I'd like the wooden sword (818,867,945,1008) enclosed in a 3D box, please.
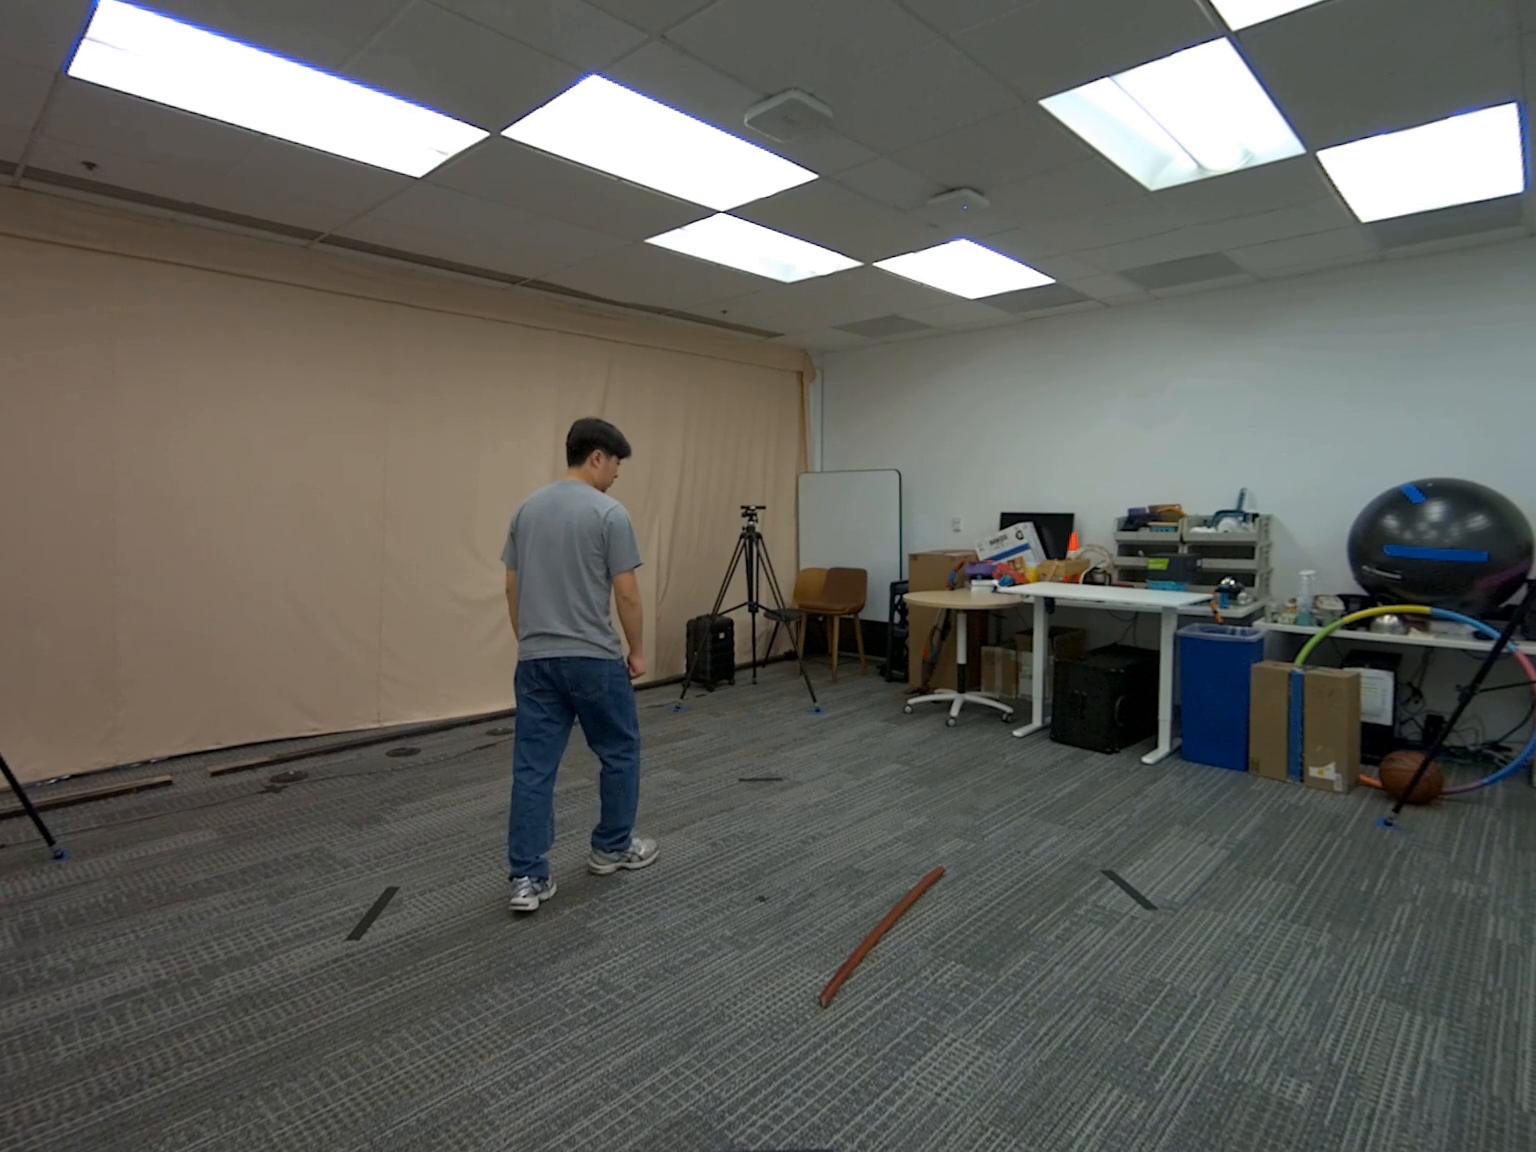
[{"bbox_3d":[0.391,1.138,2.761,0.052,0.024,0.997,-29,-10,30],"label":"wooden sword"}]
